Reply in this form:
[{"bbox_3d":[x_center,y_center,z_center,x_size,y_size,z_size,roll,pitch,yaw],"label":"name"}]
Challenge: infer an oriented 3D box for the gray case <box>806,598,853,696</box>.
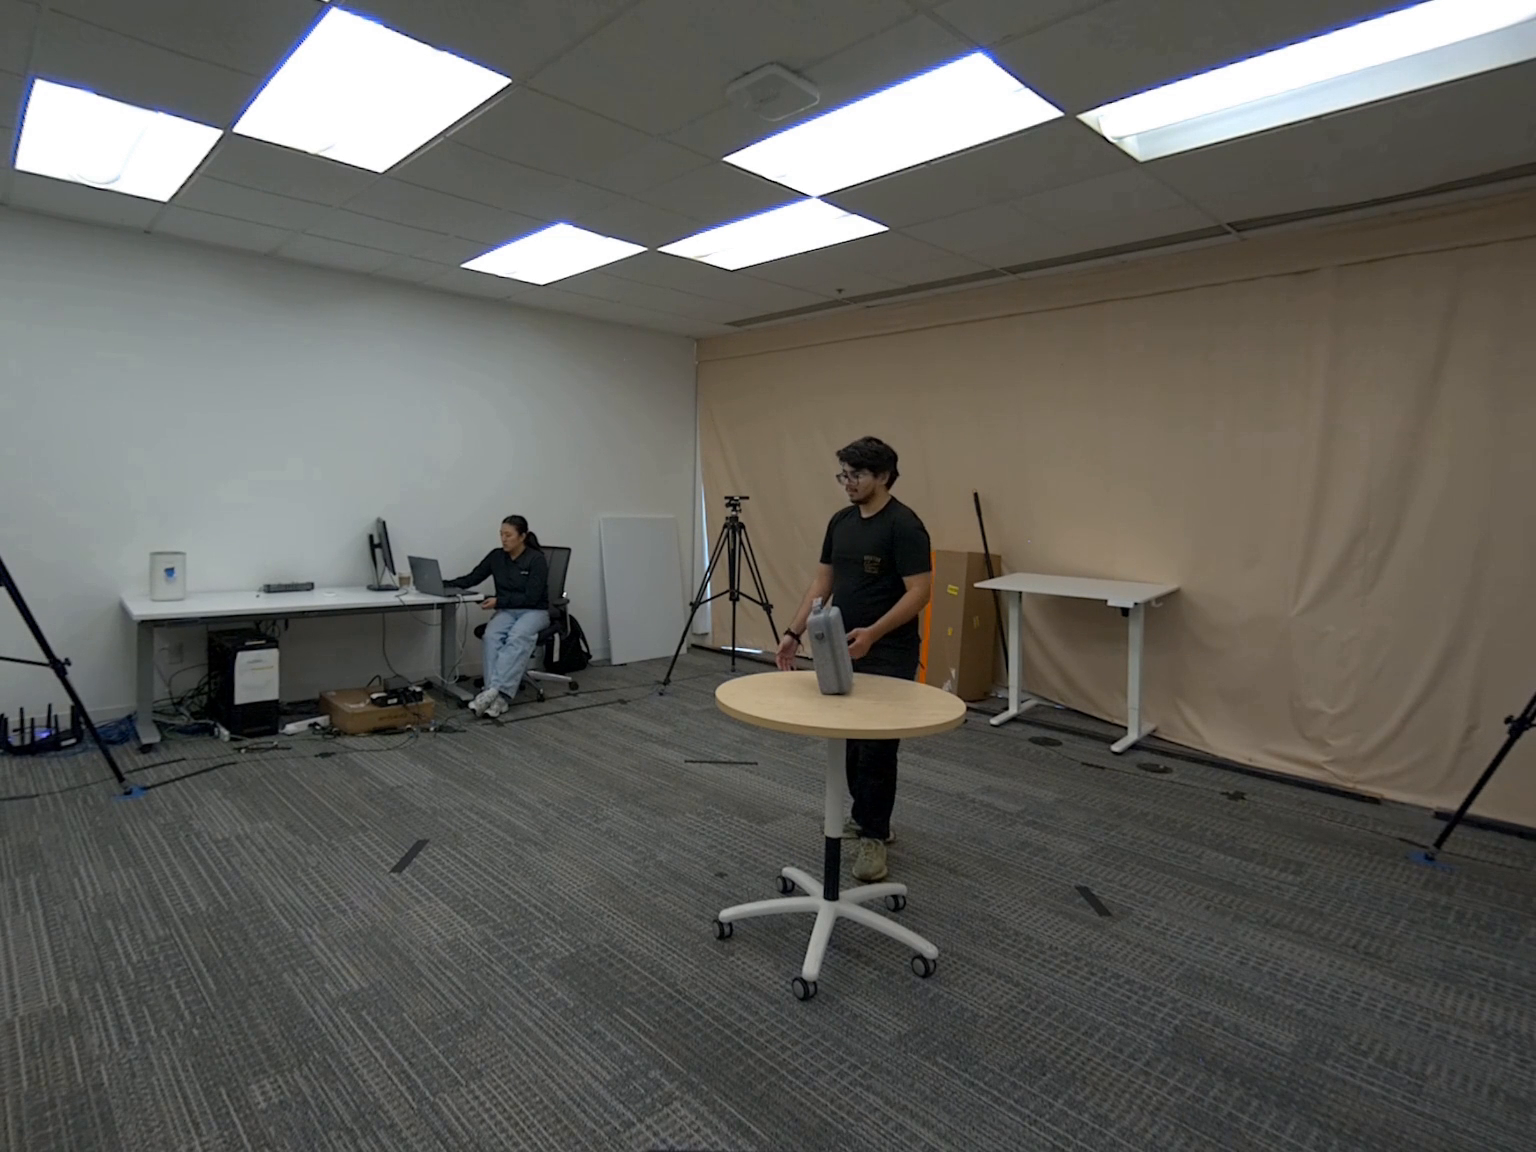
[{"bbox_3d":[0.186,0.231,2.715,0.105,0.260,0.255,-9,2,9],"label":"gray case"}]
